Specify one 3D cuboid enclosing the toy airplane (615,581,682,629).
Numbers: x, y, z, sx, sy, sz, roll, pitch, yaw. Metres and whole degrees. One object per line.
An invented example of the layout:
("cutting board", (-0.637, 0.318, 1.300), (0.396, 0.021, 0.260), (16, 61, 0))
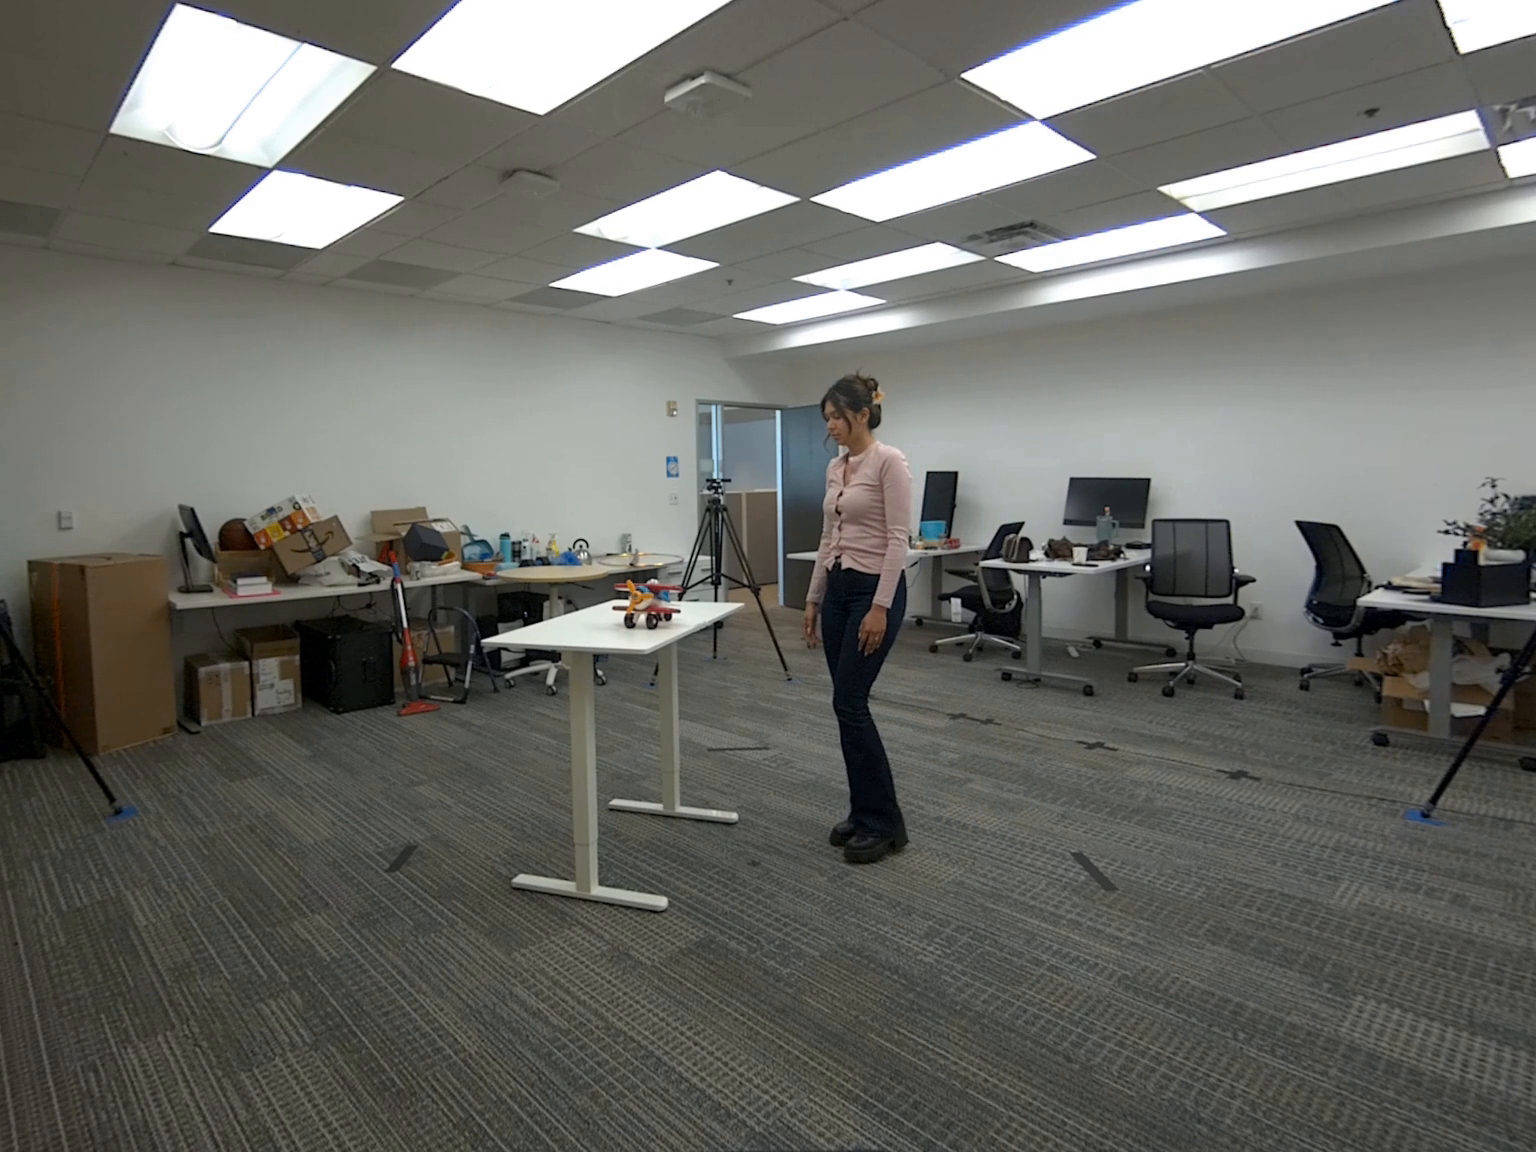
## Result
("toy airplane", (-0.435, 0.098, 3.065), (0.249, 0.156, 0.263), (-2, 6, -10))
